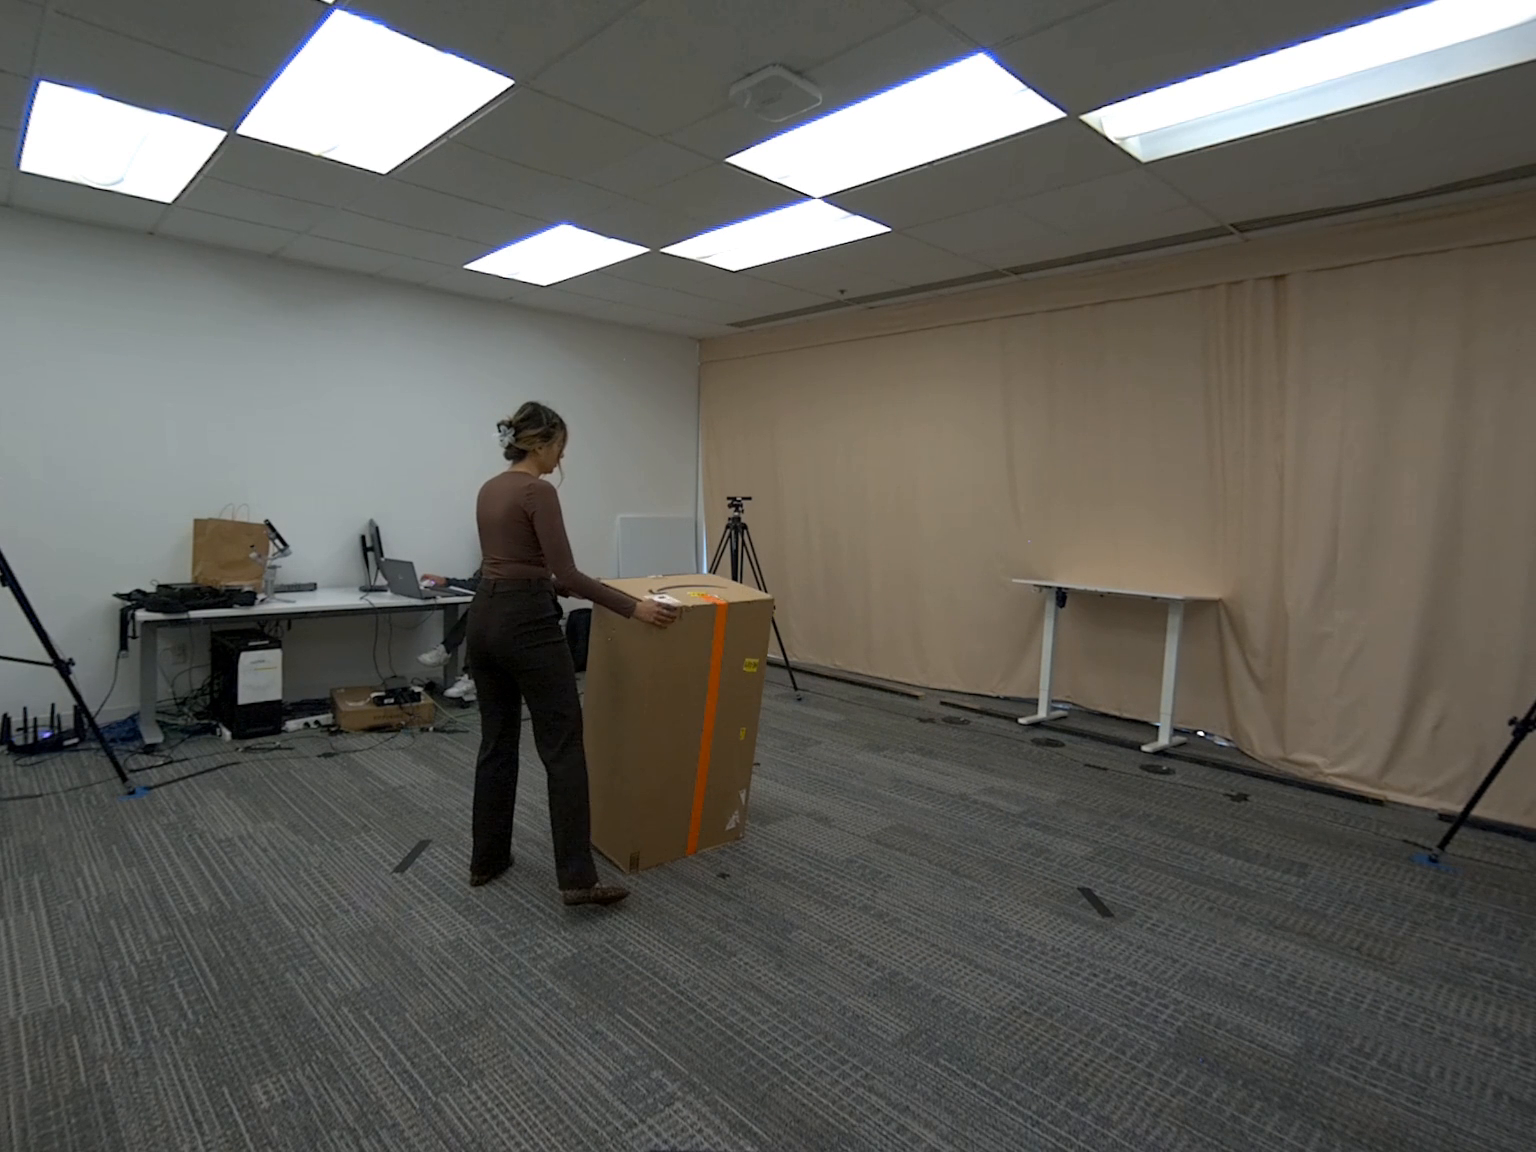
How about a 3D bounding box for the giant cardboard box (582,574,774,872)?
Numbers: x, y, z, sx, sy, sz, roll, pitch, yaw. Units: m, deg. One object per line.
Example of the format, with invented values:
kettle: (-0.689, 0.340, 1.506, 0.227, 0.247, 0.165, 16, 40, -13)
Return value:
giant cardboard box: (-0.382, 0.546, 3.348, 0.570, 1.020, 0.460, -2, 14, -41)
